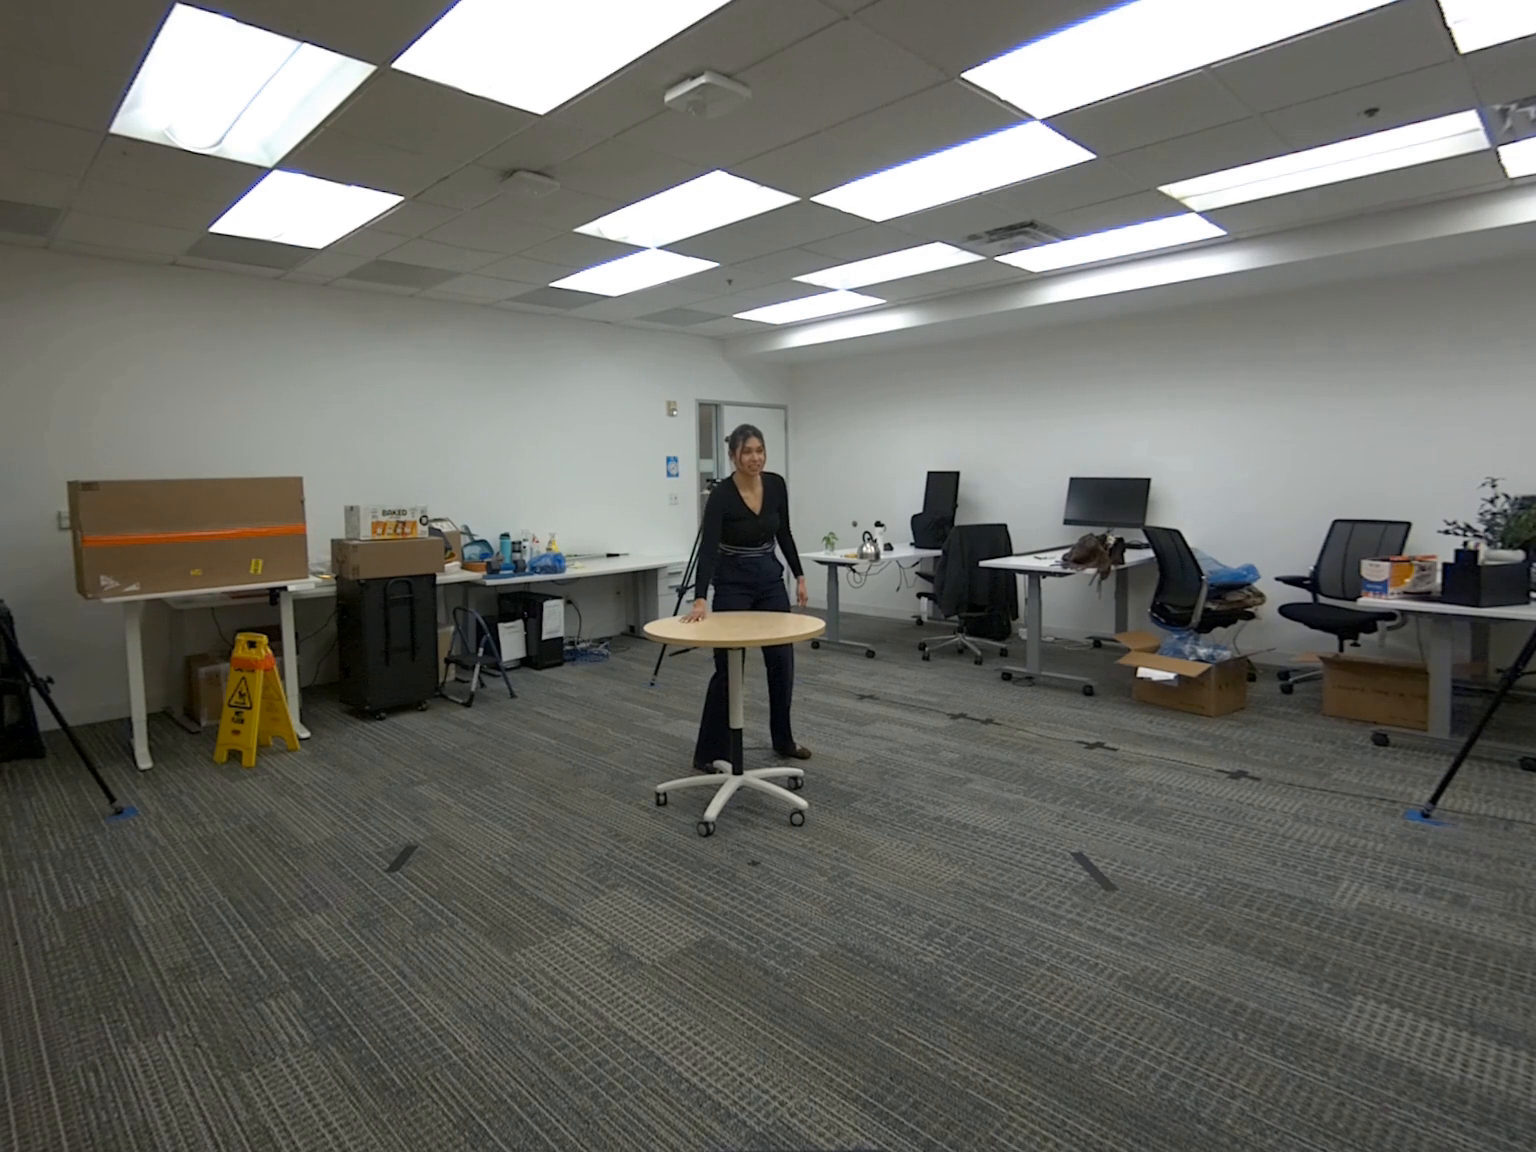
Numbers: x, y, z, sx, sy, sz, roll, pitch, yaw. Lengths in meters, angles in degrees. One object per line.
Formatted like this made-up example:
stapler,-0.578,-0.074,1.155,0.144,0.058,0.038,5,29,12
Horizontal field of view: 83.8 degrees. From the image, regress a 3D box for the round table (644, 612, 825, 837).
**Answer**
round table,-0.133,0.601,3.632,0.763,0.791,0.767,-1,4,-2
